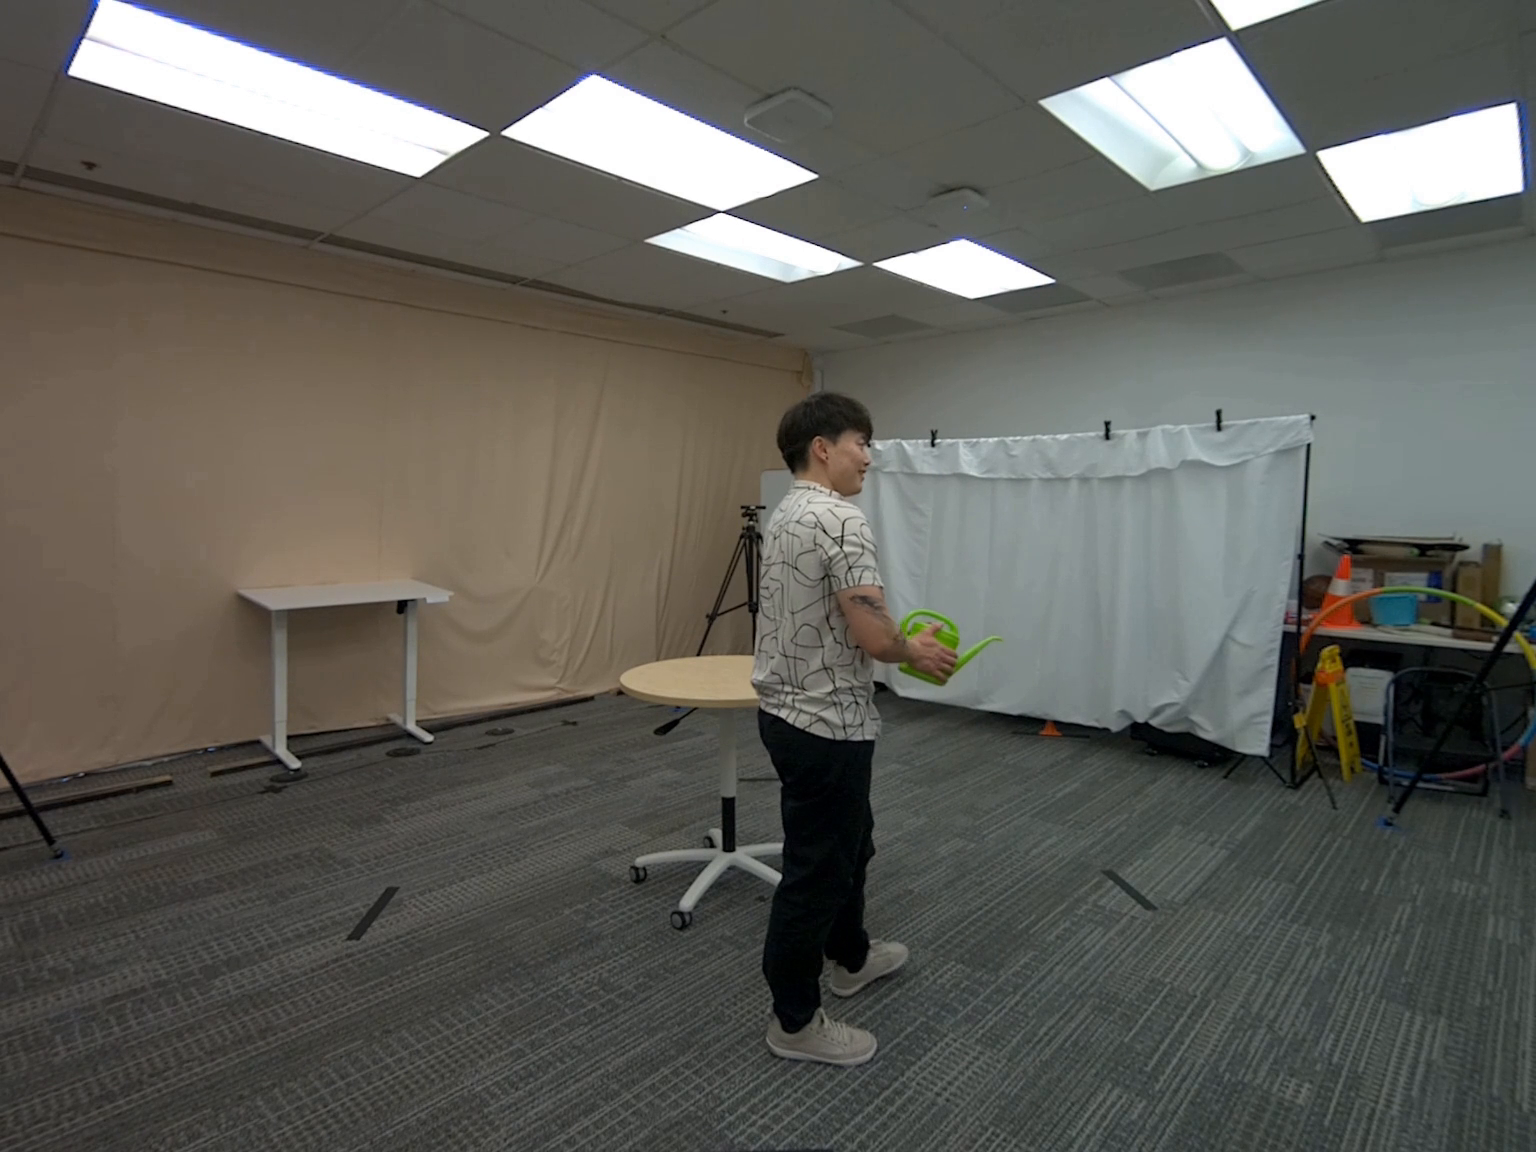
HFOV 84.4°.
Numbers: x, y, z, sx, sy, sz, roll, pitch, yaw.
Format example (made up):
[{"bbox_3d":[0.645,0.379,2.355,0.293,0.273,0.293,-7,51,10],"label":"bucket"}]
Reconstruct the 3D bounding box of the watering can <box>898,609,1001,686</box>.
[{"bbox_3d":[0.481,0.196,2.155,0.281,0.177,0.097,18,-8,7],"label":"watering can"}]
